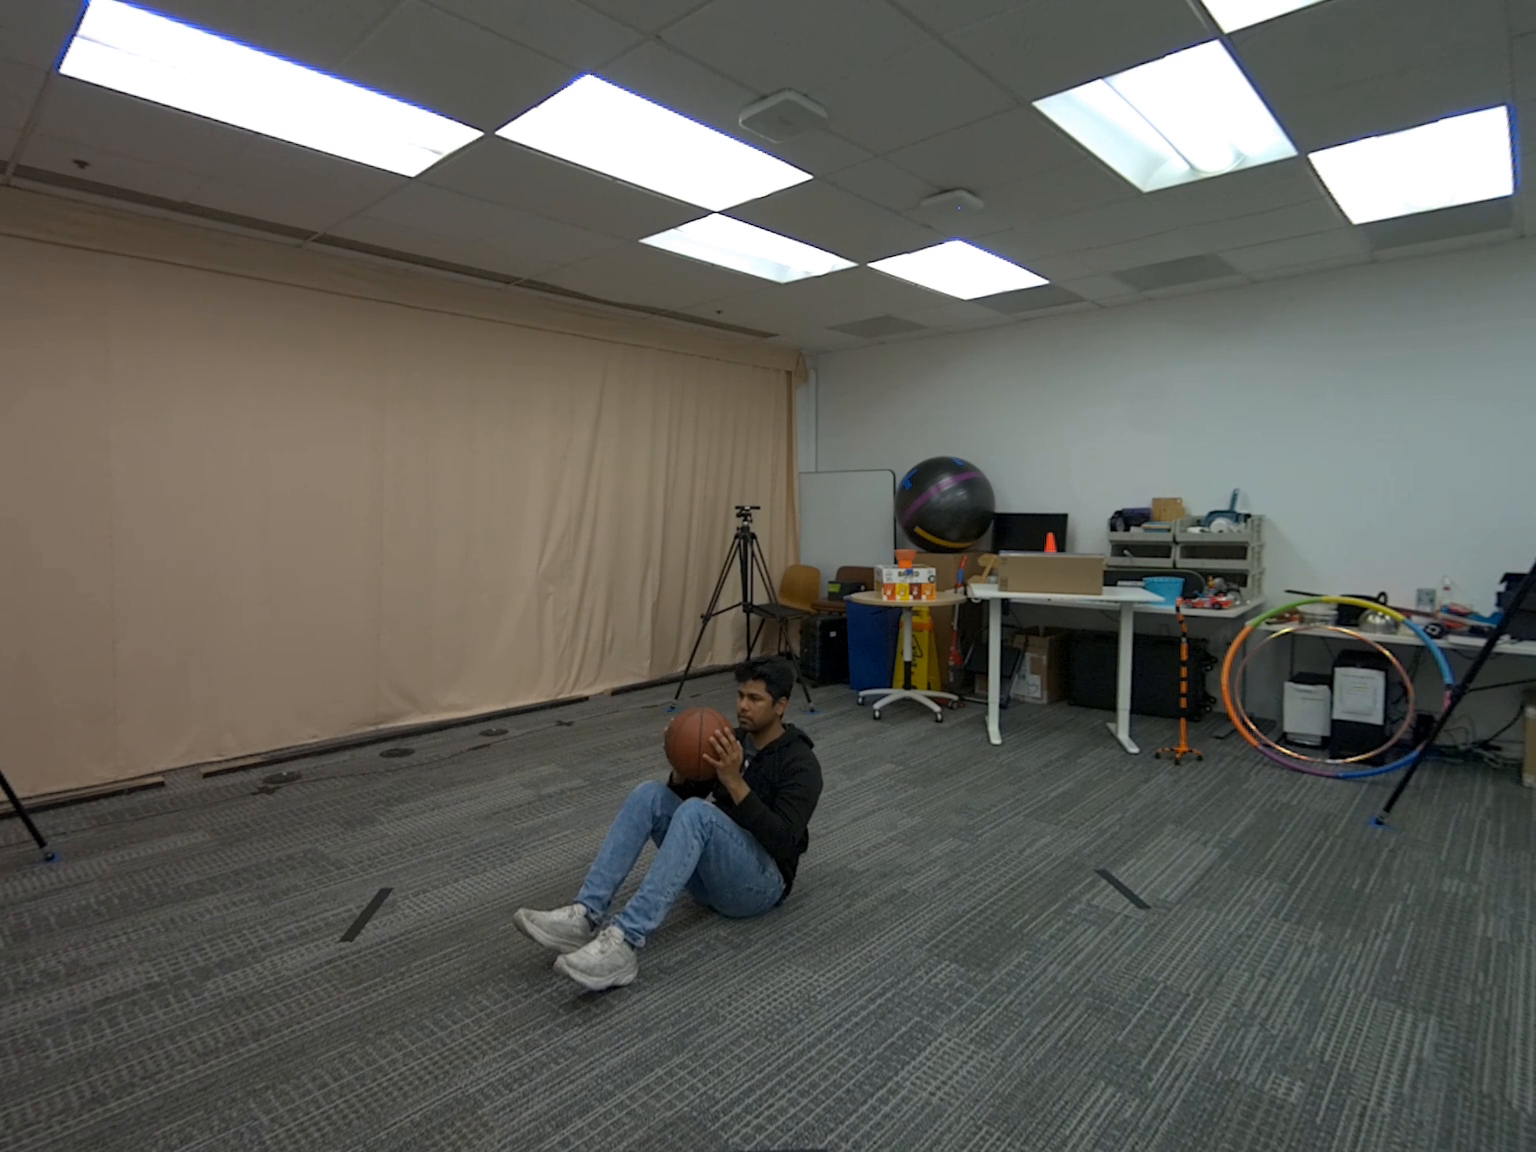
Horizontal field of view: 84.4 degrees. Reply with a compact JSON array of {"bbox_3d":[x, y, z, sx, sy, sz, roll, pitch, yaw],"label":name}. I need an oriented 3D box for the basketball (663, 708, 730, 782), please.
[{"bbox_3d":[-0.215,0.551,2.811,0.236,0.235,0.237,0,4,-2],"label":"basketball"}]
